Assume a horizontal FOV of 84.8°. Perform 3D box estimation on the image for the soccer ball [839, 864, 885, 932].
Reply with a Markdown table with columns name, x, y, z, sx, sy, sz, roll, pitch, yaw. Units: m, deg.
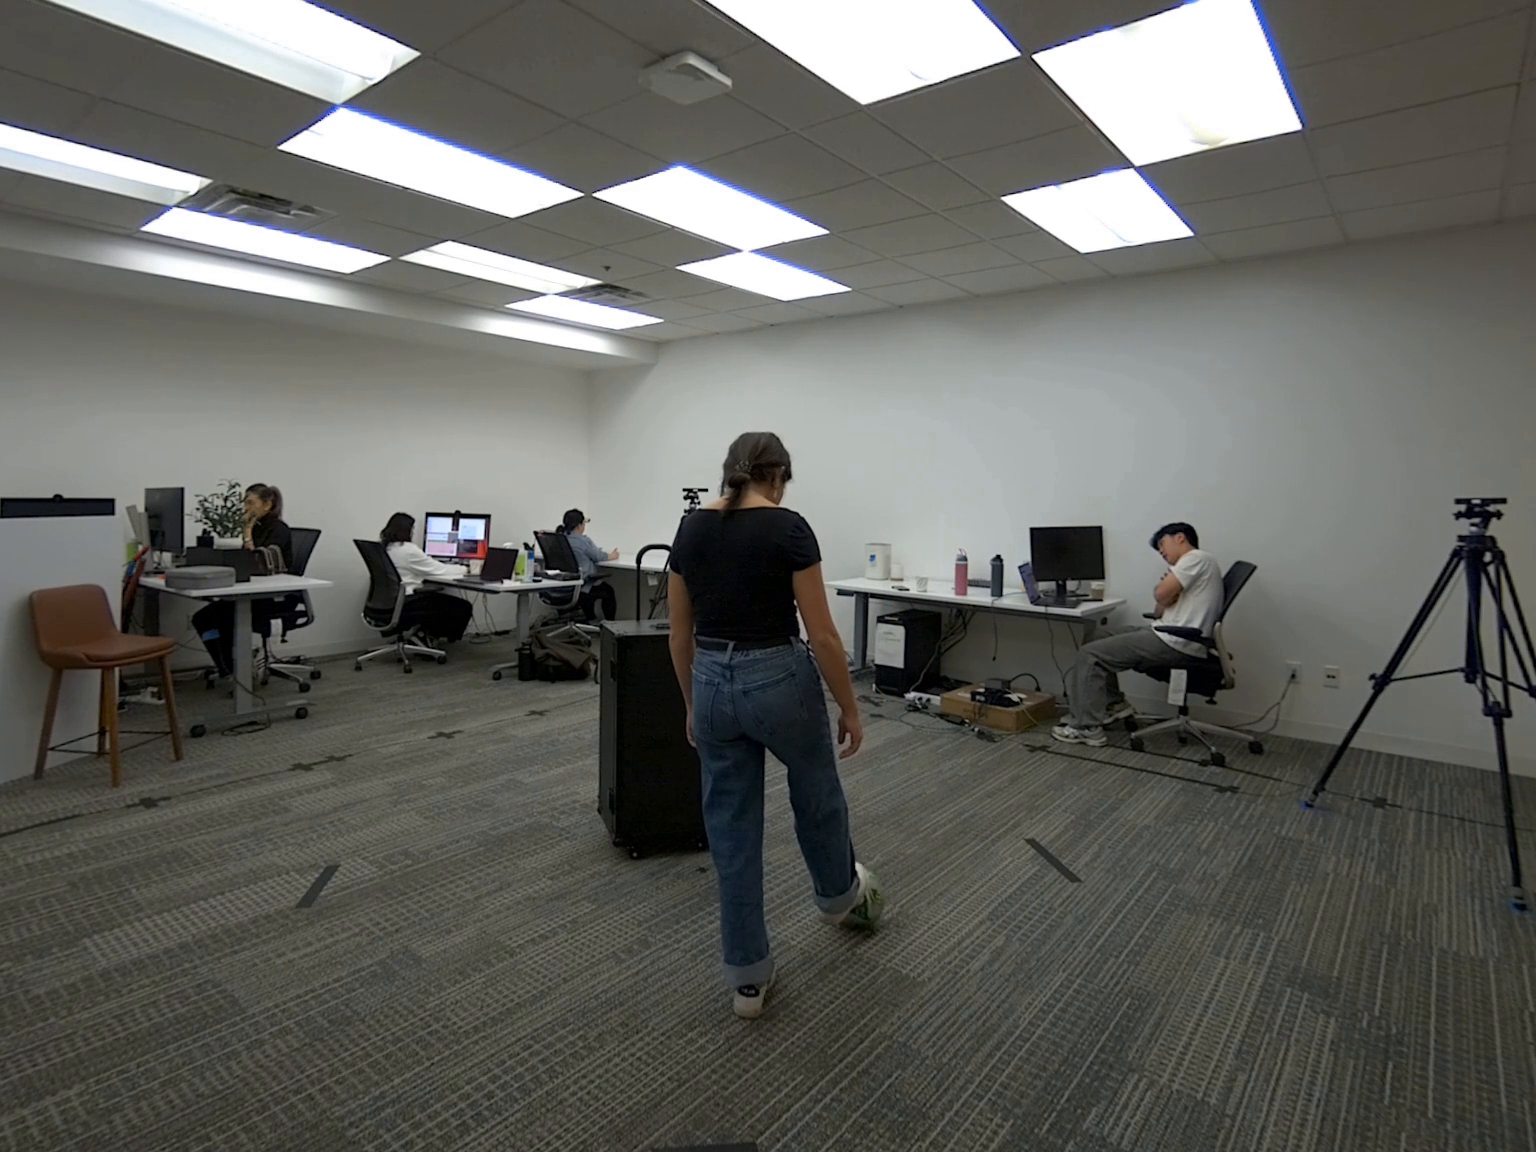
| name | x | y | z | sx | sy | sz | roll | pitch | yaw |
| --- | --- | --- | --- | --- | --- | --- | --- | --- | --- |
| soccer ball | 0.288 | 1.020 | 2.732 | 0.187 | 0.187 | 0.188 | 1 | 4 | -2 |
